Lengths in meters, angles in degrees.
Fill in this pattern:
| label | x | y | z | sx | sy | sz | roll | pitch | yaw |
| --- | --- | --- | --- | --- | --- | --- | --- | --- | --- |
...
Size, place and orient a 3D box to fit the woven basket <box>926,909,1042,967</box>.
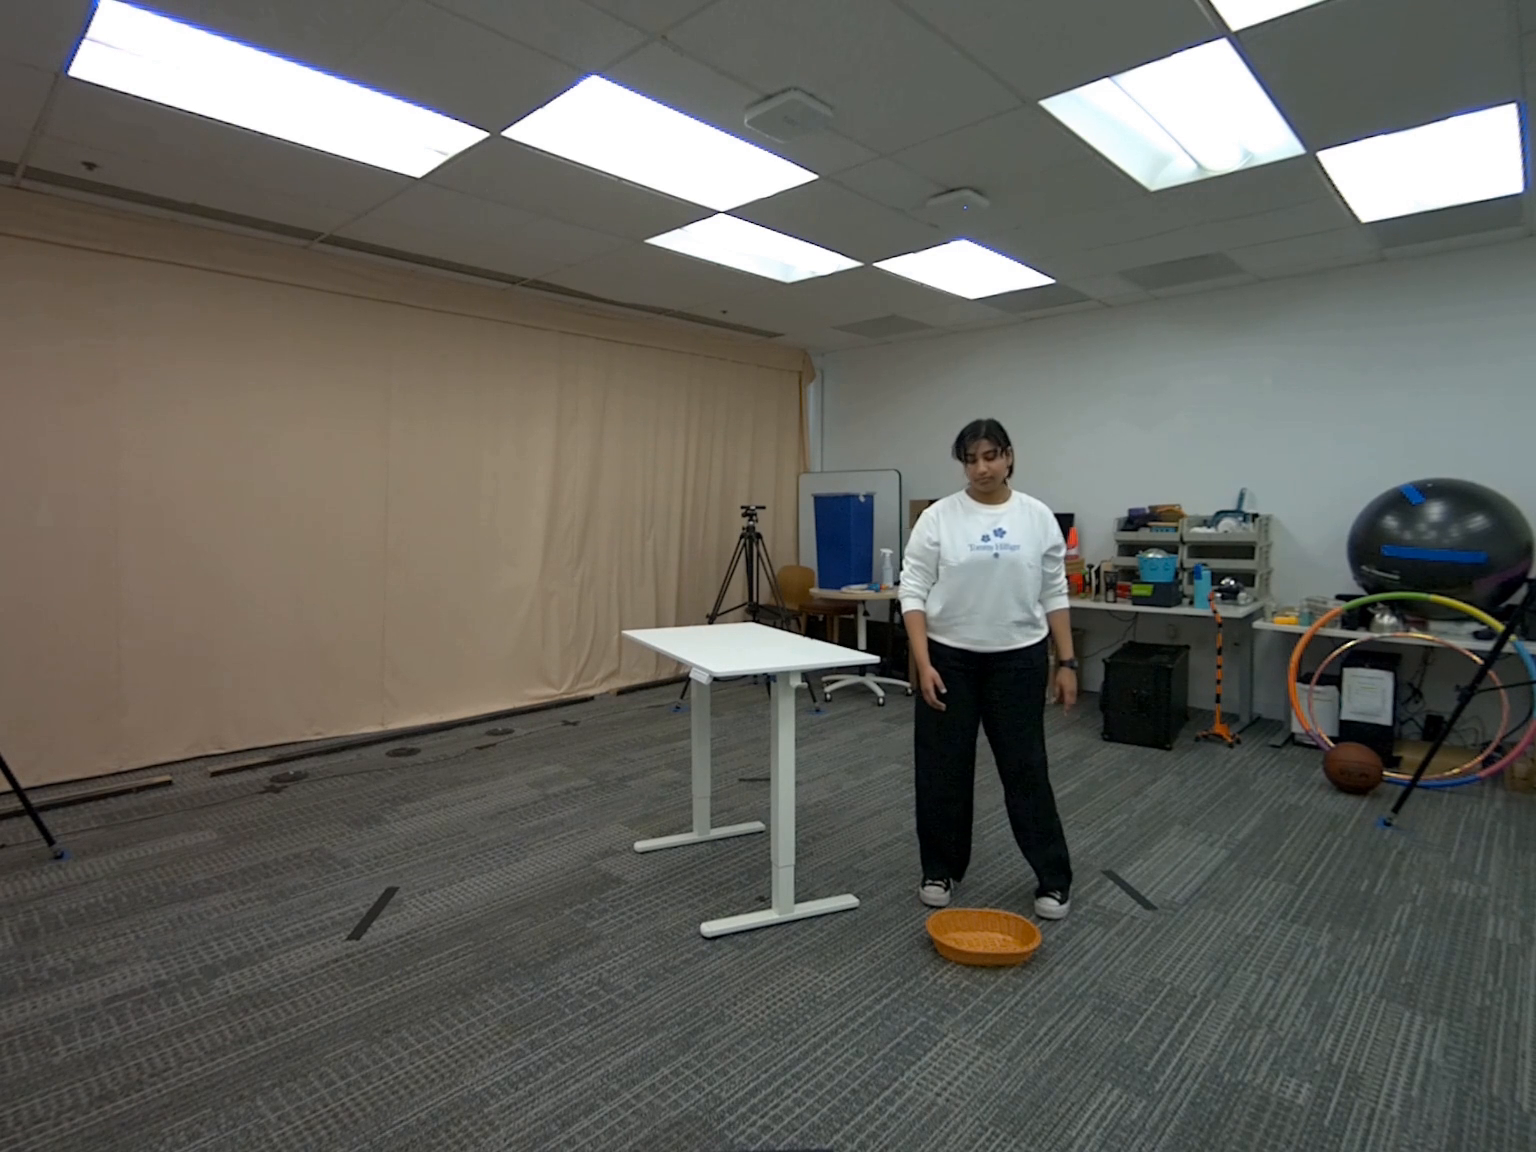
| label | x | y | z | sx | sy | sz | roll | pitch | yaw |
| --- | --- | --- | --- | --- | --- | --- | --- | --- | --- |
| woven basket | 0.675 | 1.129 | 2.629 | 0.351 | 0.073 | 0.253 | 0 | 7 | 1 |
